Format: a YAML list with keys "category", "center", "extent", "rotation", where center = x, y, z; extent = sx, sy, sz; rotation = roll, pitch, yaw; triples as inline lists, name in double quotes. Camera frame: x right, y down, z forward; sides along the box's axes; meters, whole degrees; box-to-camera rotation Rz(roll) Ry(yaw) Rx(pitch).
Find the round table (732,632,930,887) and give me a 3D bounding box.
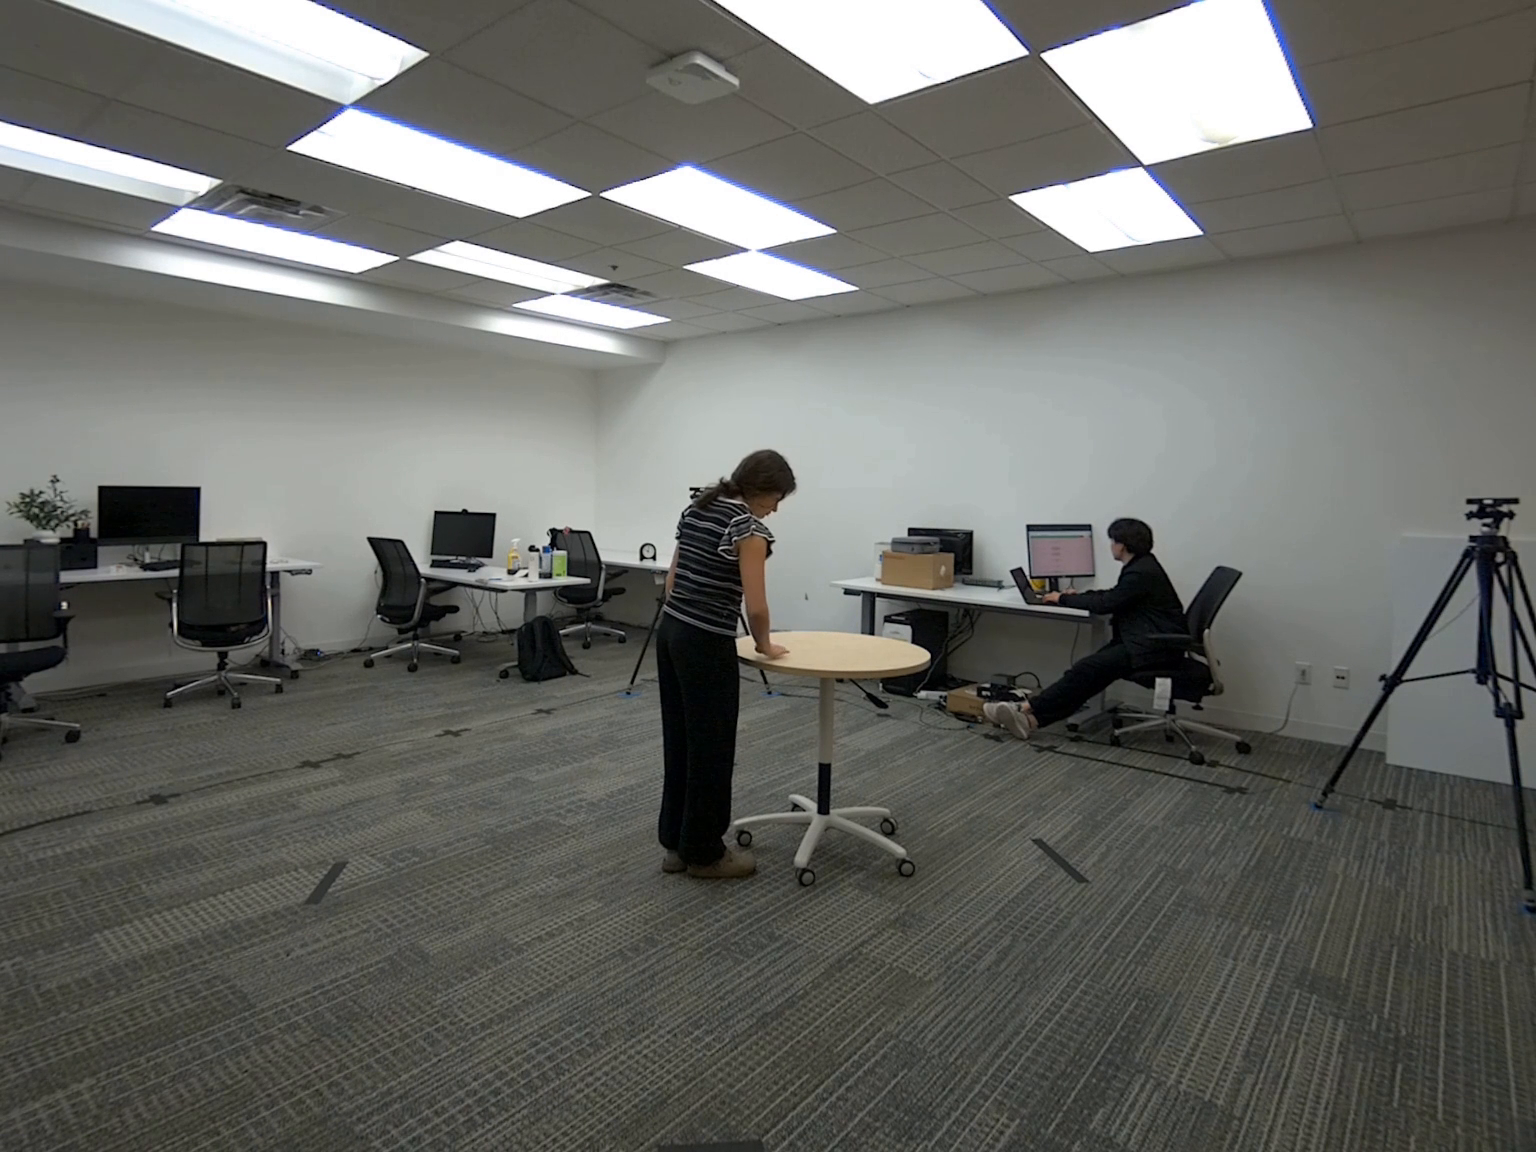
- category: "round table"
  center: [0.215, 0.669, 3.294]
  extent: [0.763, 0.791, 0.768]
  rotation: [1, 5, -2]
